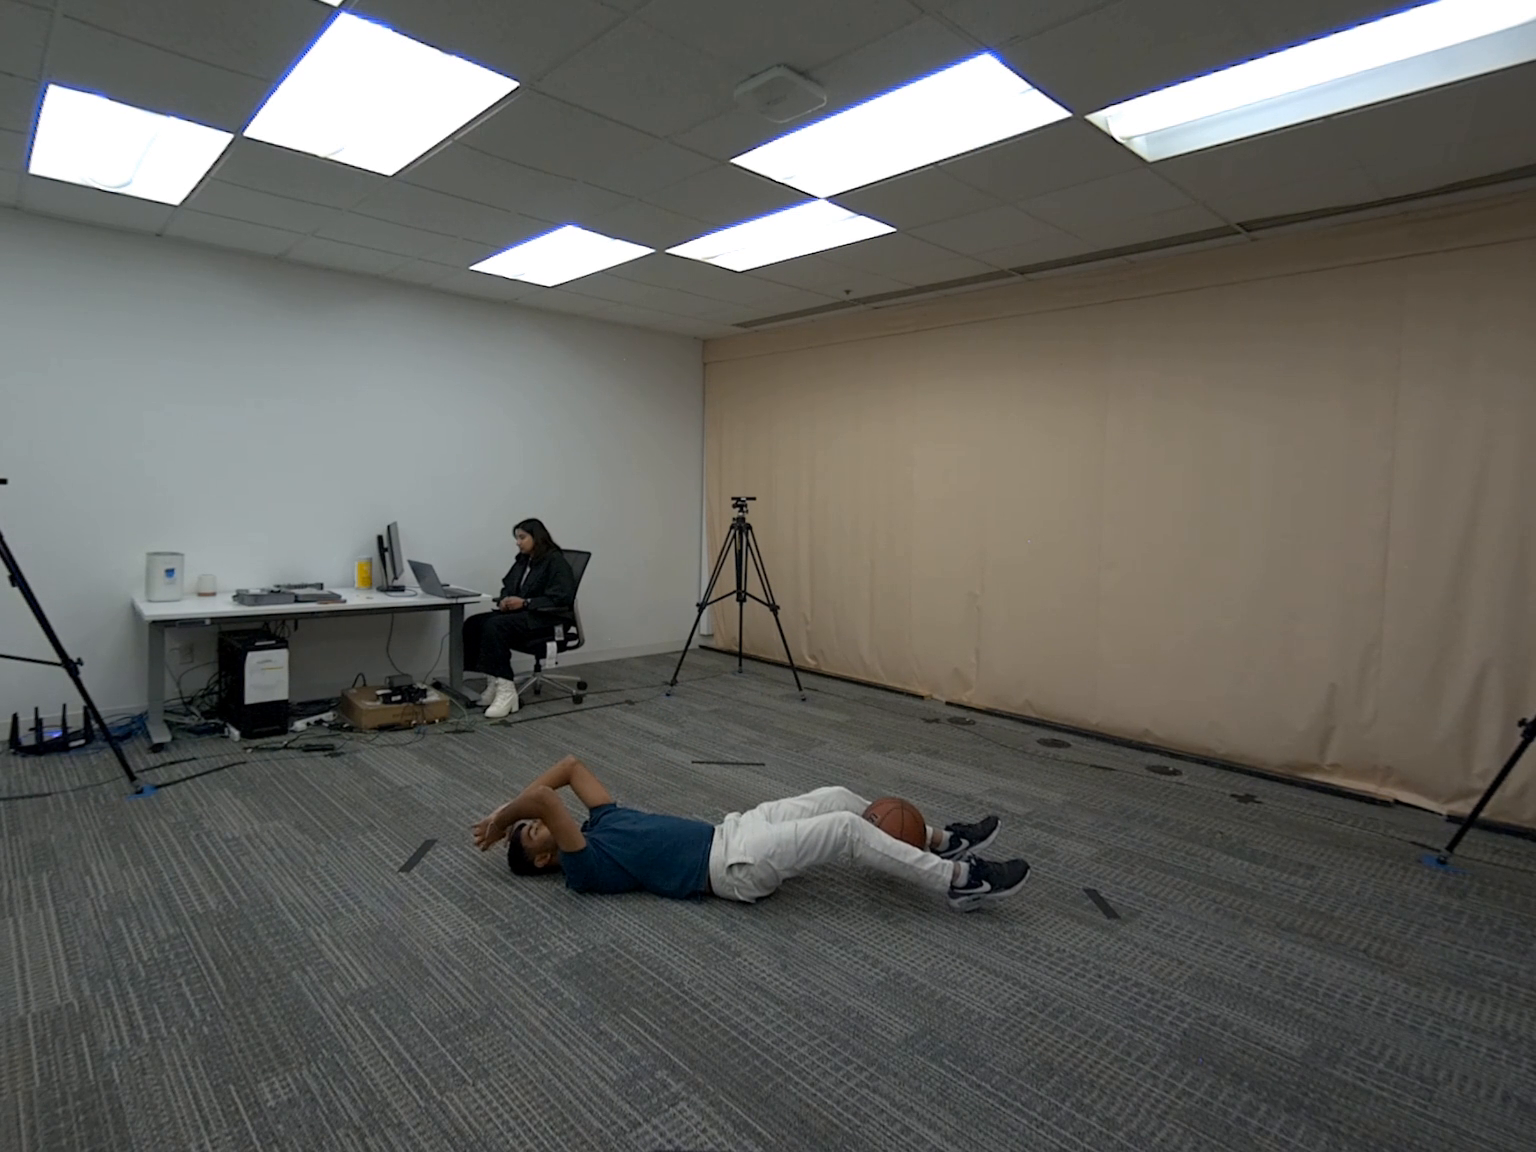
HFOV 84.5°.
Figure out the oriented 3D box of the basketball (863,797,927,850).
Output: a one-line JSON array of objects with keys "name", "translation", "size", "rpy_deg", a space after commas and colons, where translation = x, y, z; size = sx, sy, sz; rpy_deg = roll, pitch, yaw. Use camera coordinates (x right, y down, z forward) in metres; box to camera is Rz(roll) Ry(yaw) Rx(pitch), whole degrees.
[{"name": "basketball", "translation": [0.453, 0.913, 3.009], "size": [0.236, 0.235, 0.237], "rpy_deg": [1, 4, -1]}]
